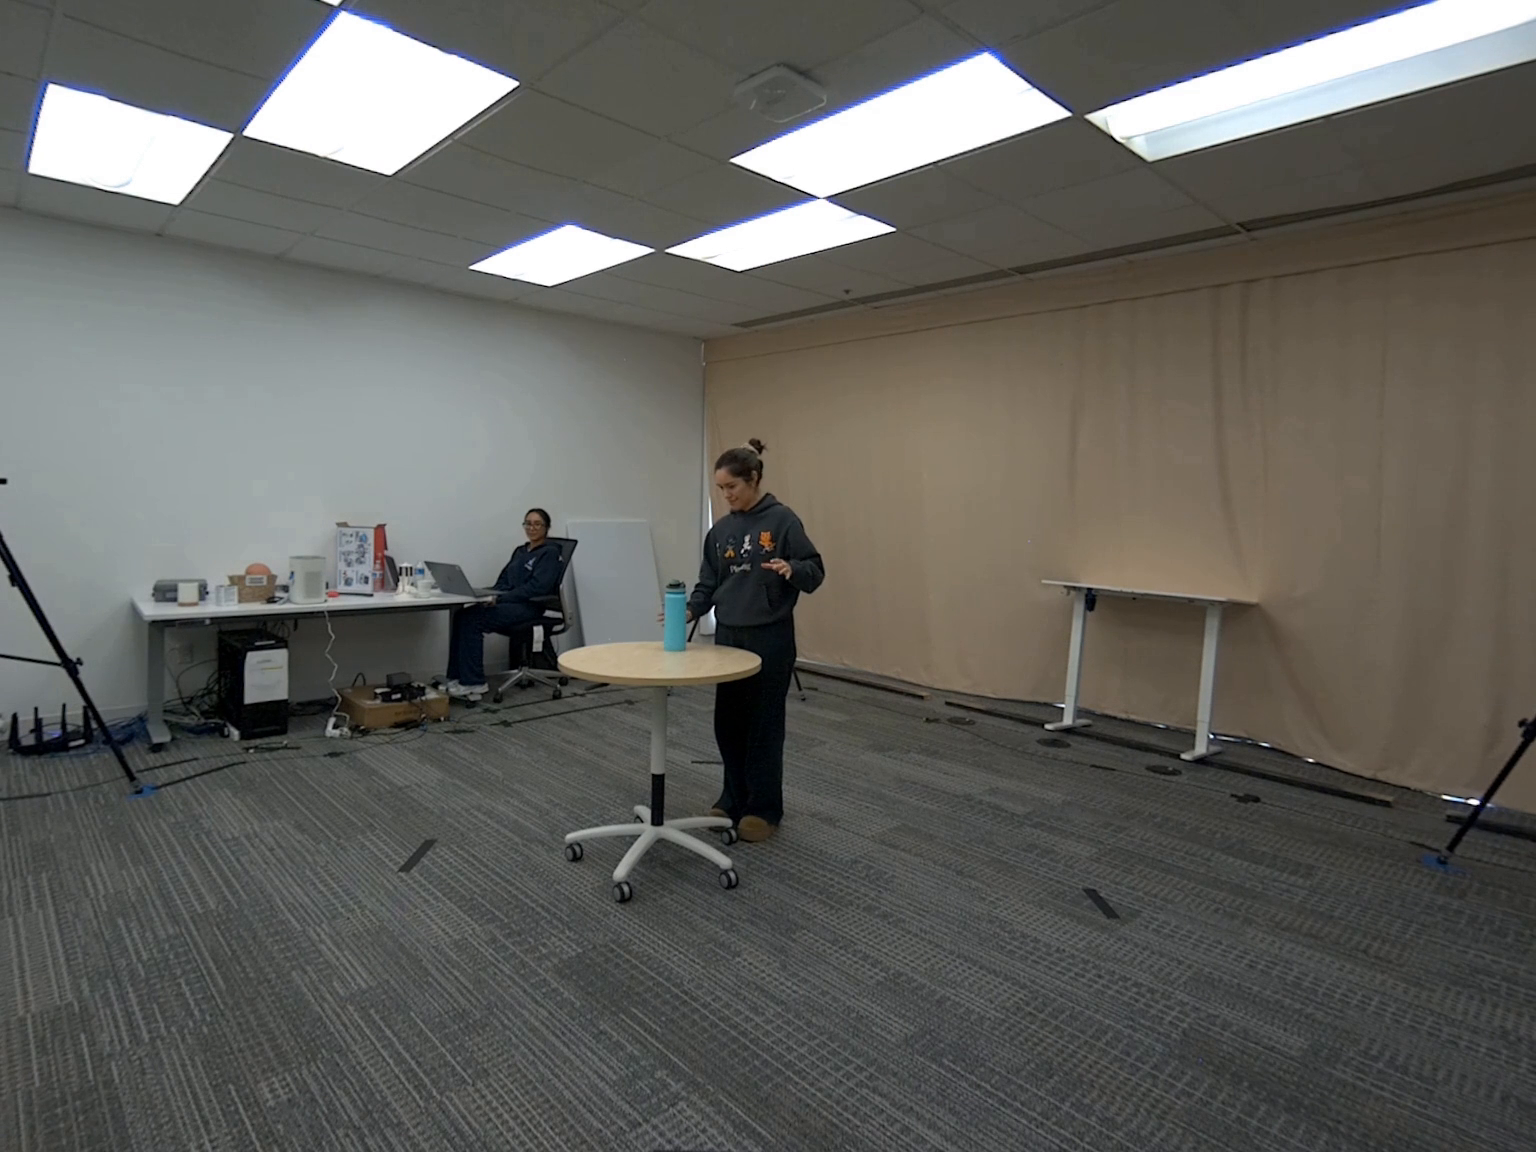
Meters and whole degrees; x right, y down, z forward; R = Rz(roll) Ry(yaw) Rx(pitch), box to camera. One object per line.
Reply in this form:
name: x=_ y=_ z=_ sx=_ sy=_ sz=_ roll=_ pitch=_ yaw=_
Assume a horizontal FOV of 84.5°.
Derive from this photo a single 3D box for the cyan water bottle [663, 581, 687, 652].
cyan water bottle: x=-0.386 y=0.157 z=3.378 sx=0.092 sy=0.283 sz=0.092 roll=1 pitch=1 yaw=-1
